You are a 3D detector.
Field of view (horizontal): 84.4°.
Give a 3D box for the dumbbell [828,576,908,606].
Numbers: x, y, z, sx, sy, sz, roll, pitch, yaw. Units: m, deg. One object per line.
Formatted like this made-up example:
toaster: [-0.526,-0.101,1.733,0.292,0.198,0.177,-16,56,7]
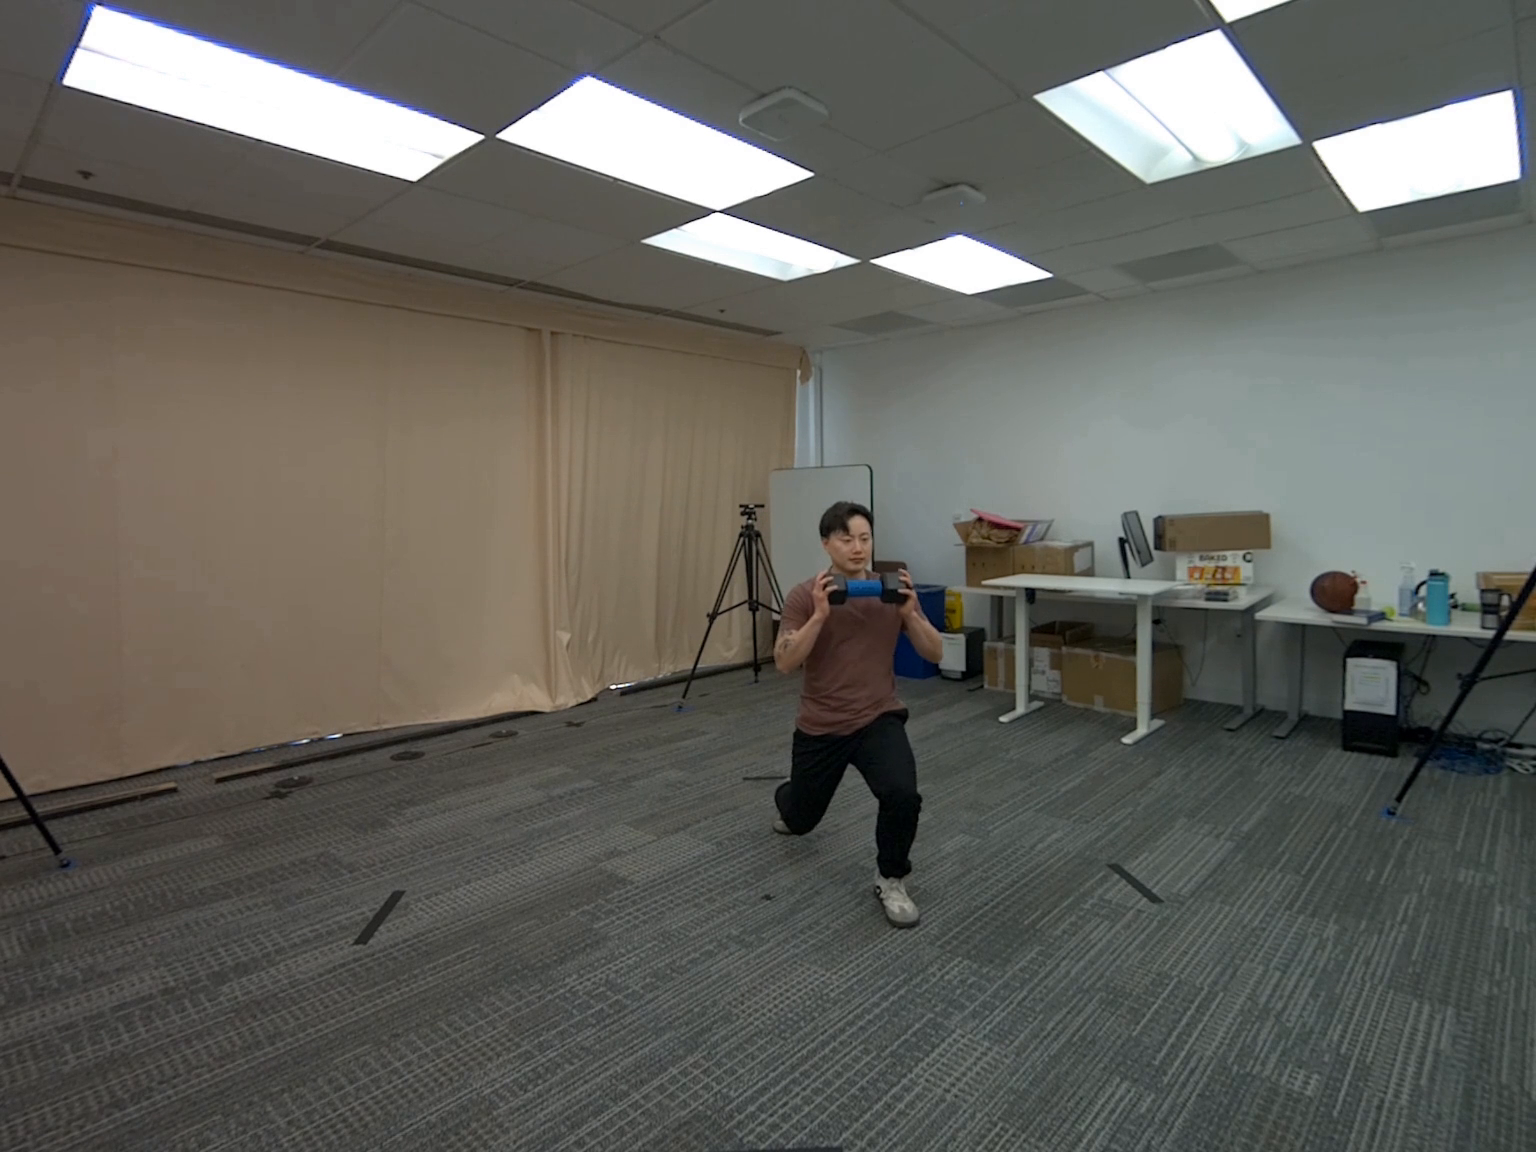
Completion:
dumbbell: [0.346,0.040,3.016,0.294,0.109,0.122,-4,-4,1]
